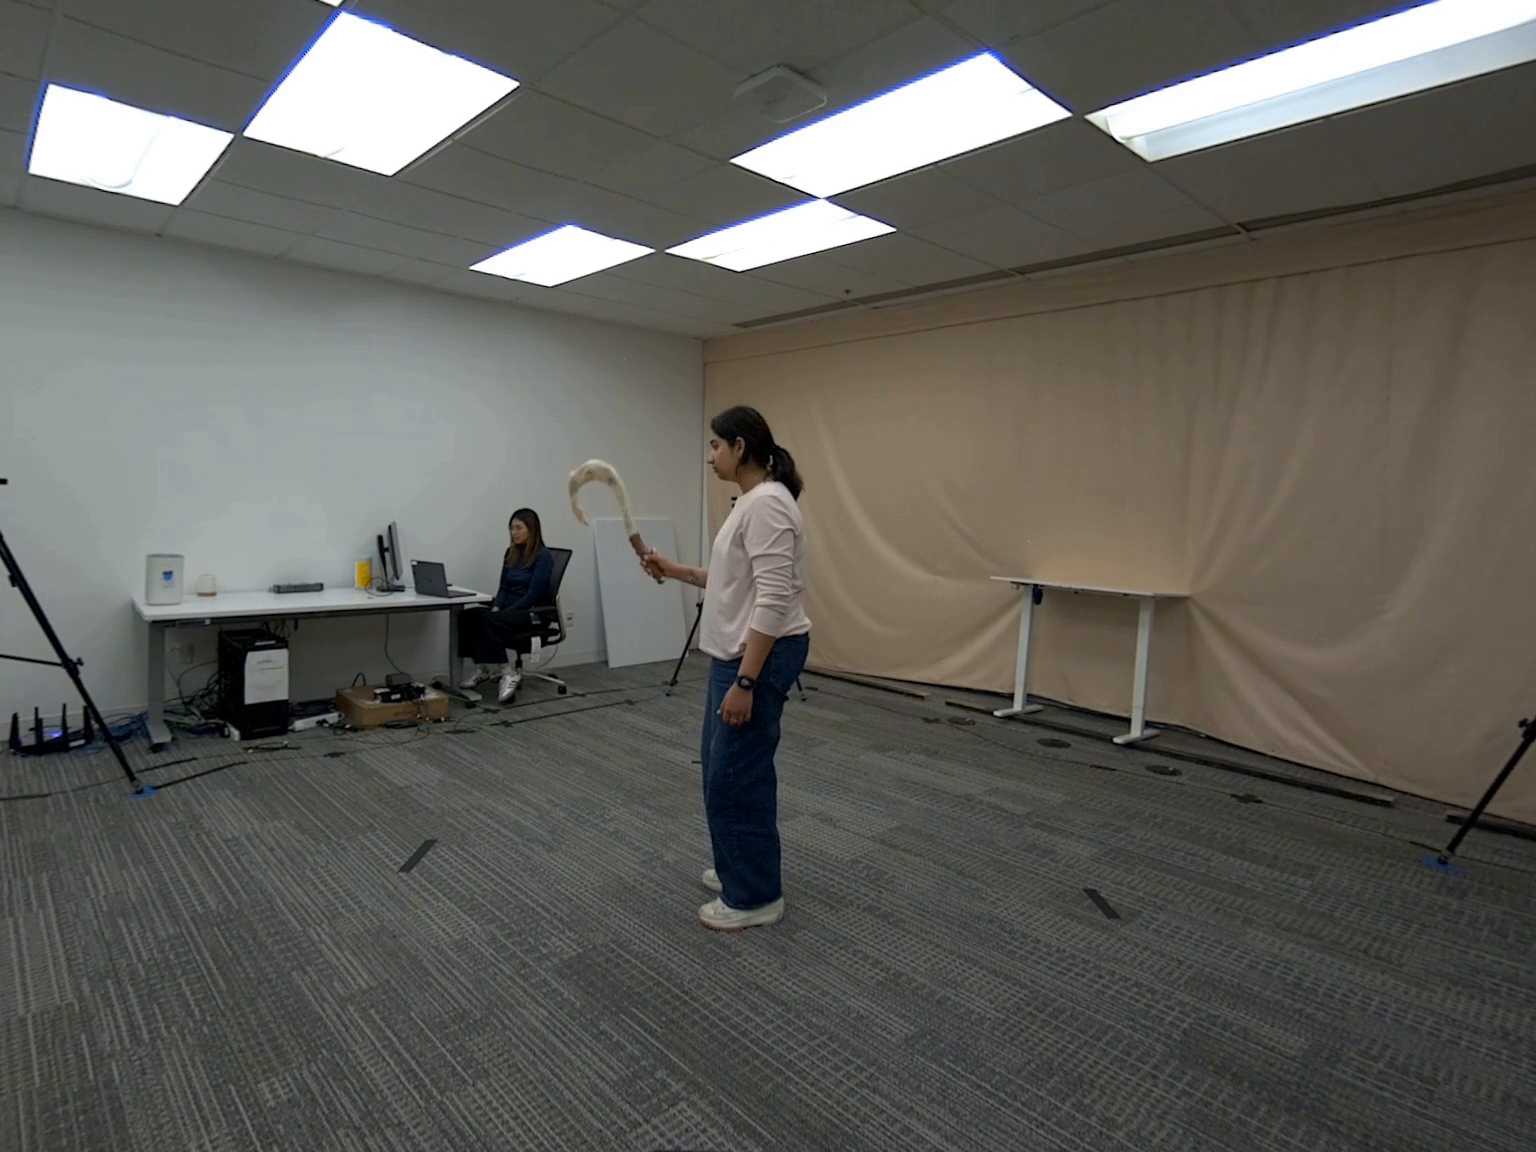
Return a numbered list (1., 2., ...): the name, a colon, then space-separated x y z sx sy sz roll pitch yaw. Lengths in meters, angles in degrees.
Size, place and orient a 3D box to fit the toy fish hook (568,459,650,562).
1. toy fish hook: -0.541 -0.163 2.998 0.226 0.506 0.048 -30 0 23
